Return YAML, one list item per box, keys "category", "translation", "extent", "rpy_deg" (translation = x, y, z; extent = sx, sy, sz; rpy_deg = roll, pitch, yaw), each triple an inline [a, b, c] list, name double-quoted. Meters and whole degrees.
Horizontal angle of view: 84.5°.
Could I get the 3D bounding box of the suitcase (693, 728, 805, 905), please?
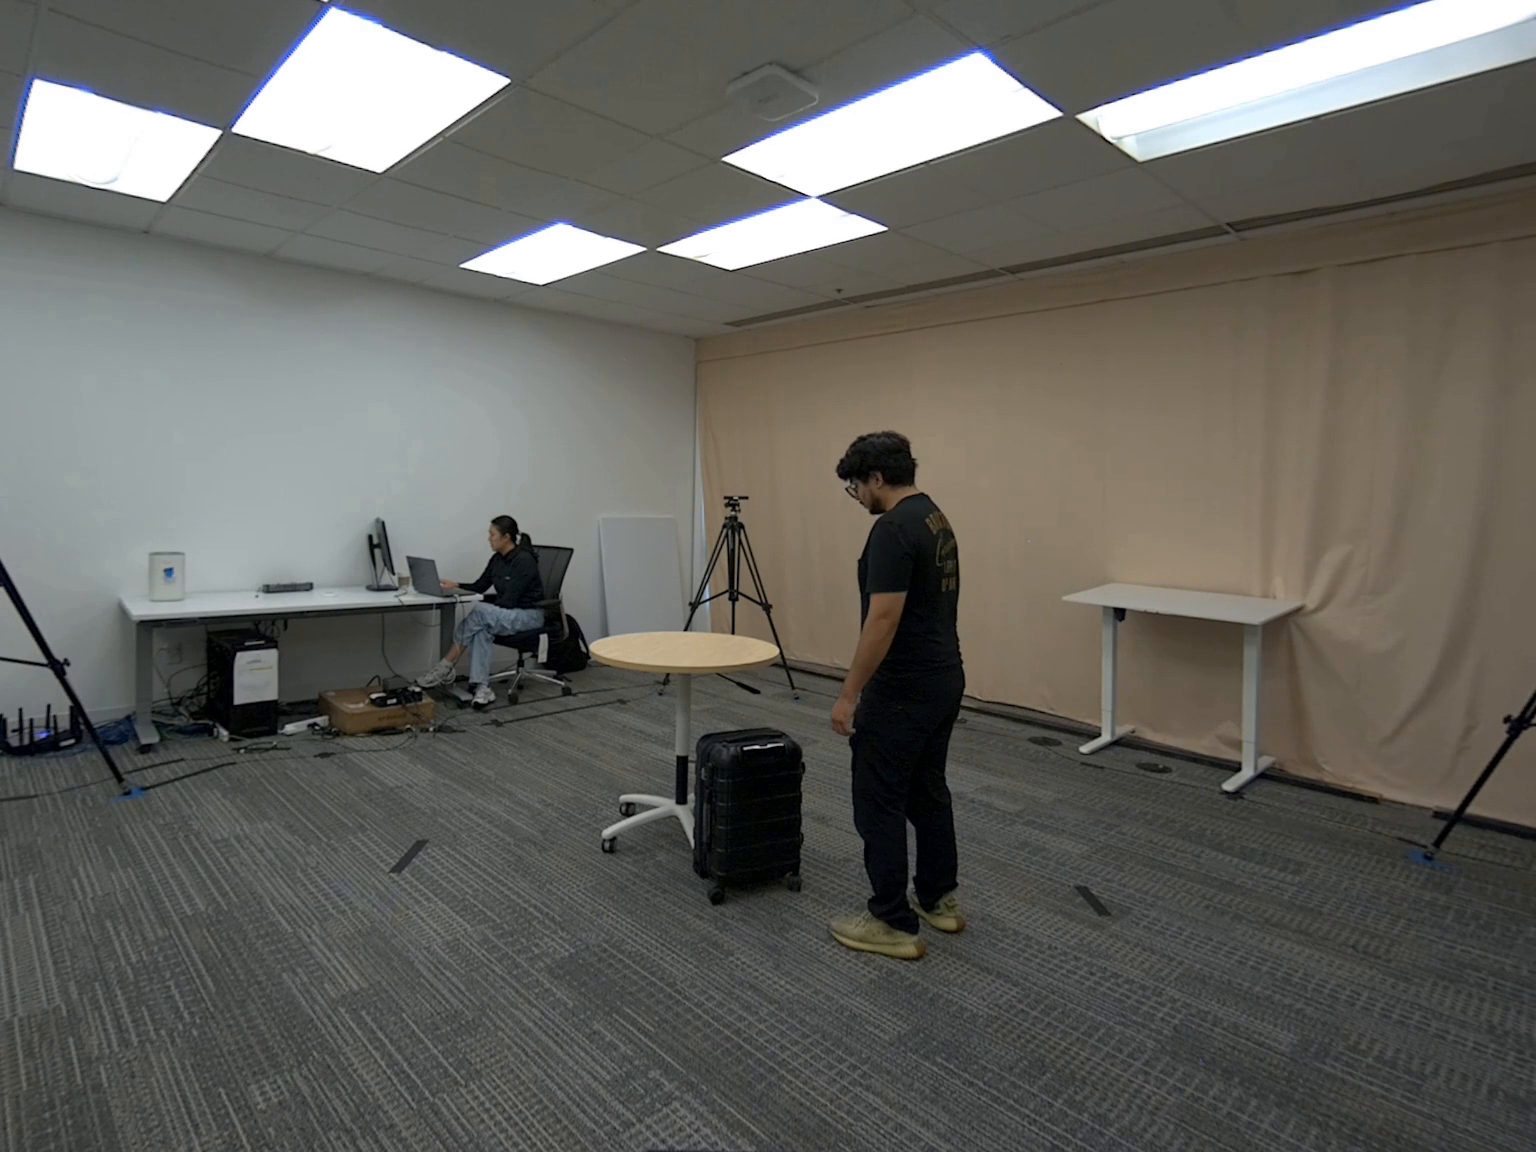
- category: "suitcase"
  translation: [-0.073, 0.831, 3.040]
  extent: [0.368, 0.548, 0.253]
  rpy_deg: [1, 3, -25]
